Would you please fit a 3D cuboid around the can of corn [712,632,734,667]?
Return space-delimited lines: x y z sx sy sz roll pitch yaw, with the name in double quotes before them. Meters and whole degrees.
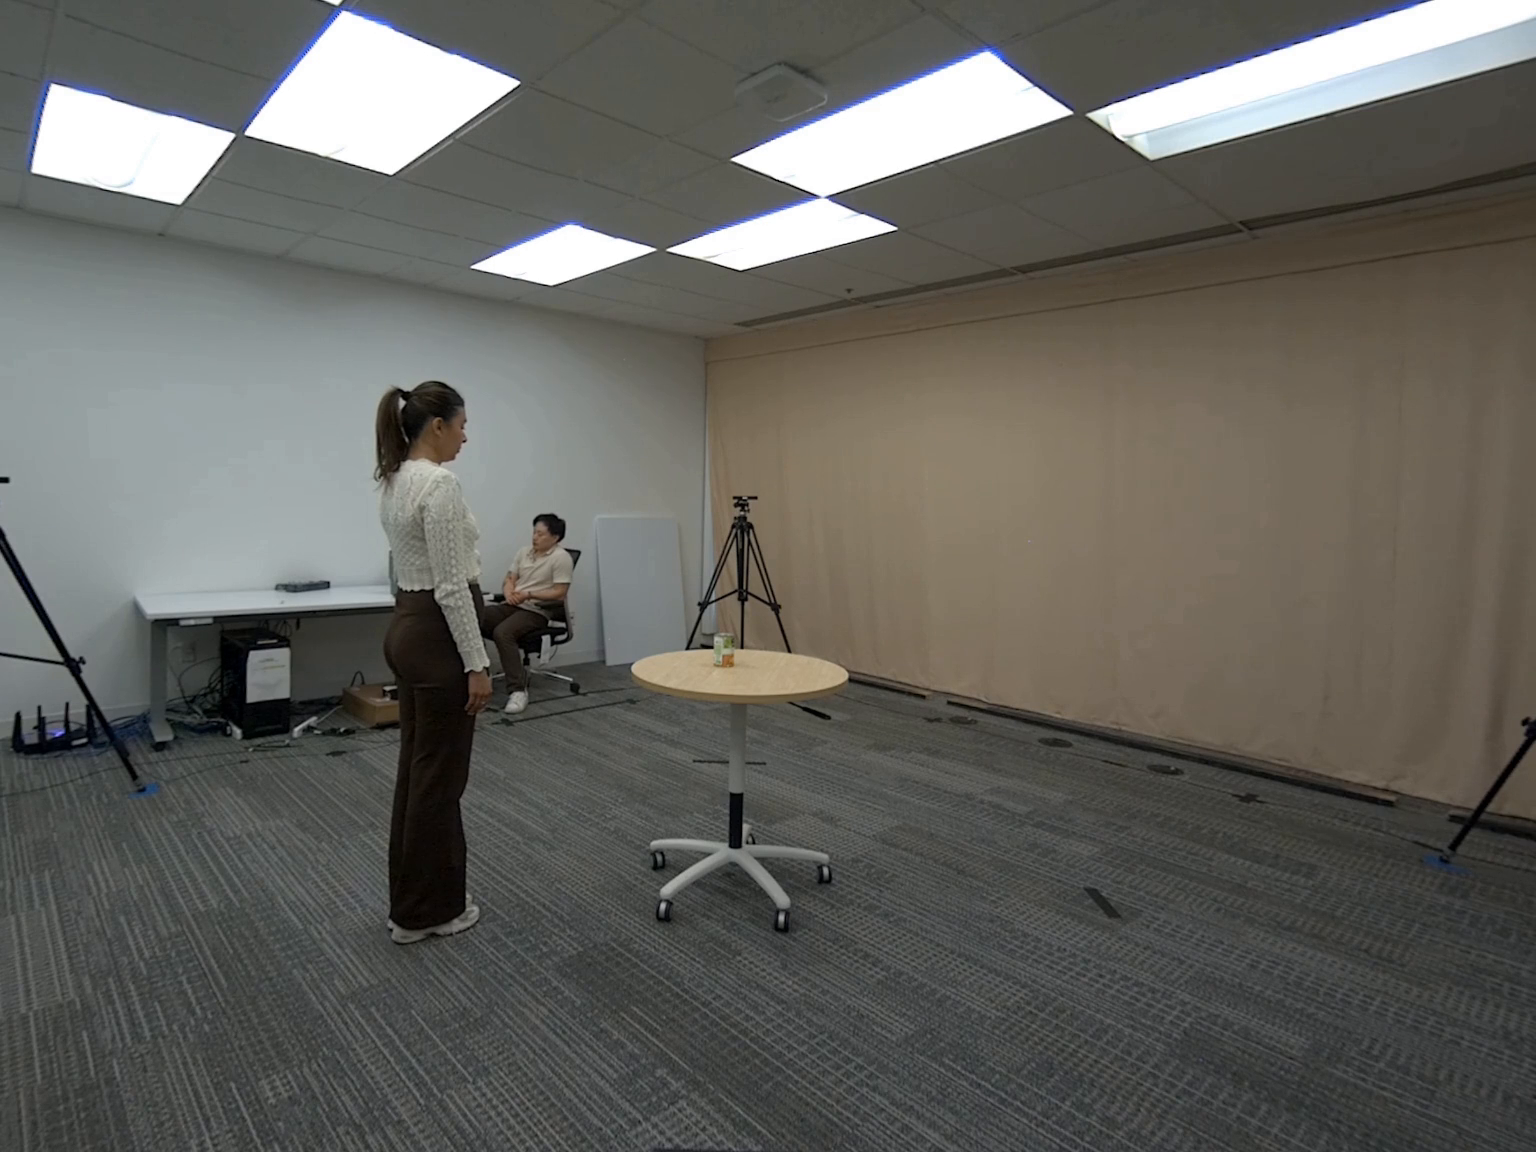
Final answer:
"can of corn" -0.165 0.270 3.035 0.074 0.111 0.074 0 2 -1
